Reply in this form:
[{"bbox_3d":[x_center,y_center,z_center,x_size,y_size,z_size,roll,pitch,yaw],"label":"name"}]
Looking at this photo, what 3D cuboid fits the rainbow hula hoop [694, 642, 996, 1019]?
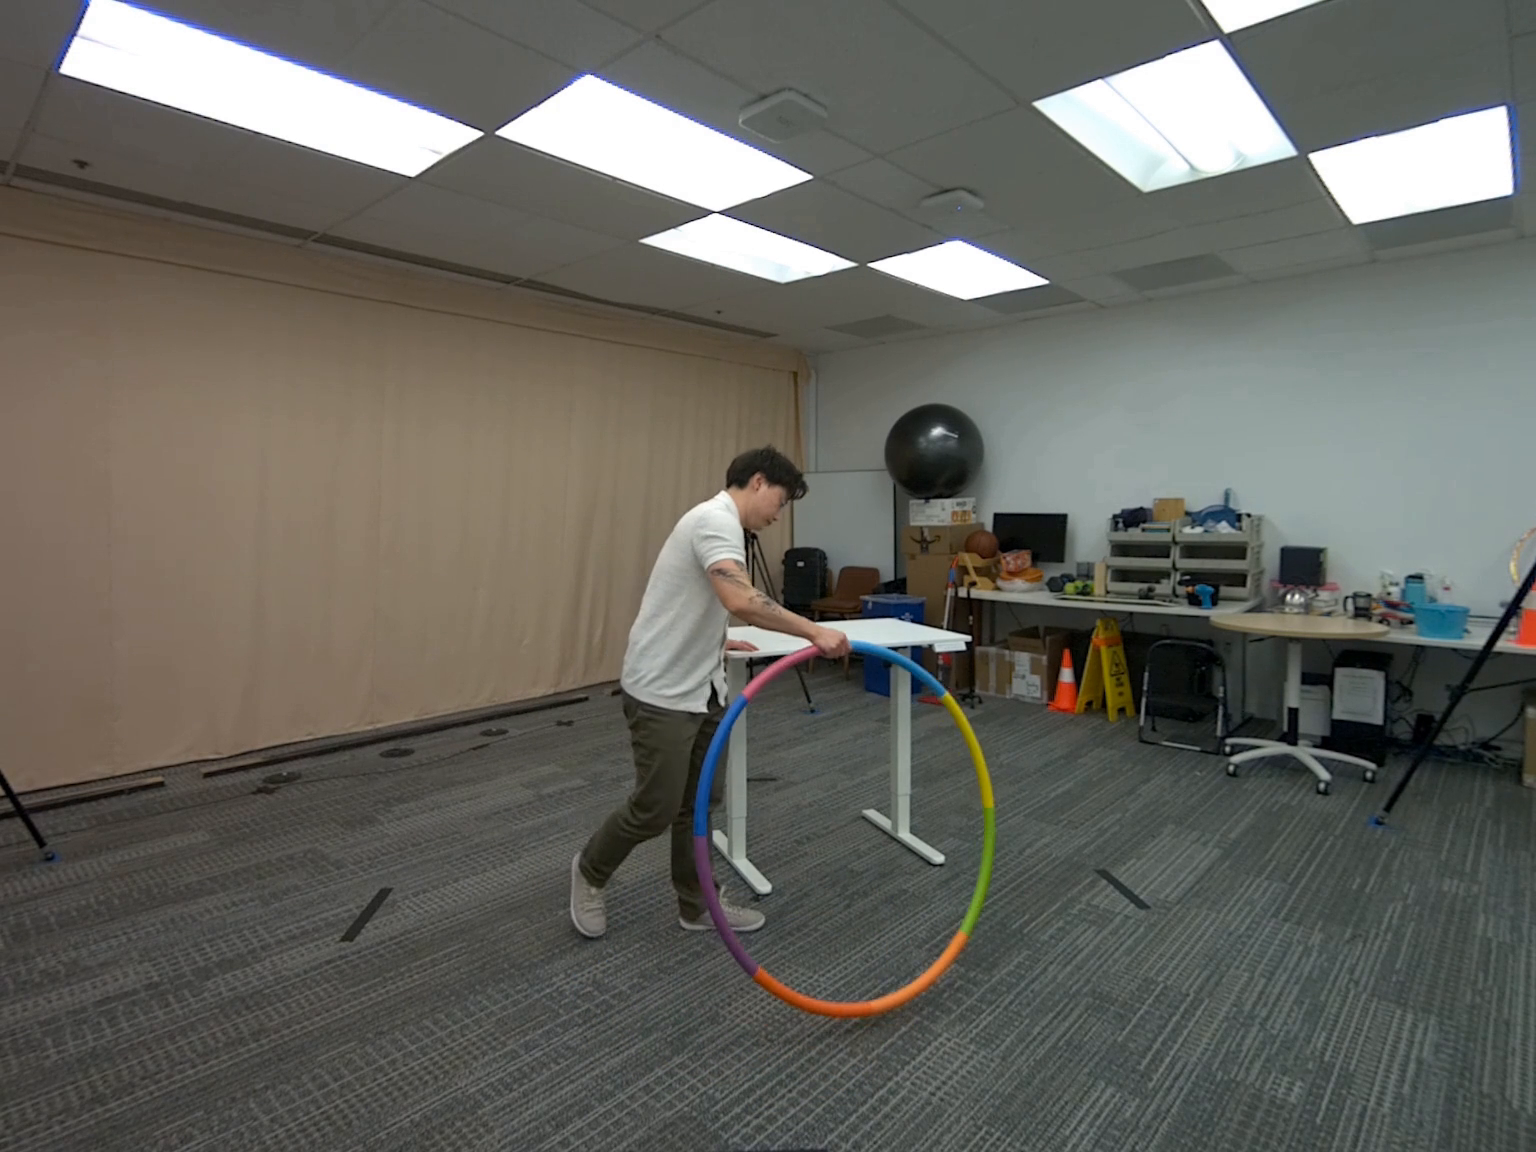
[{"bbox_3d":[0.260,0.690,2.357,0.955,0.986,0.036,-2,-12,-25],"label":"rainbow hula hoop"}]
